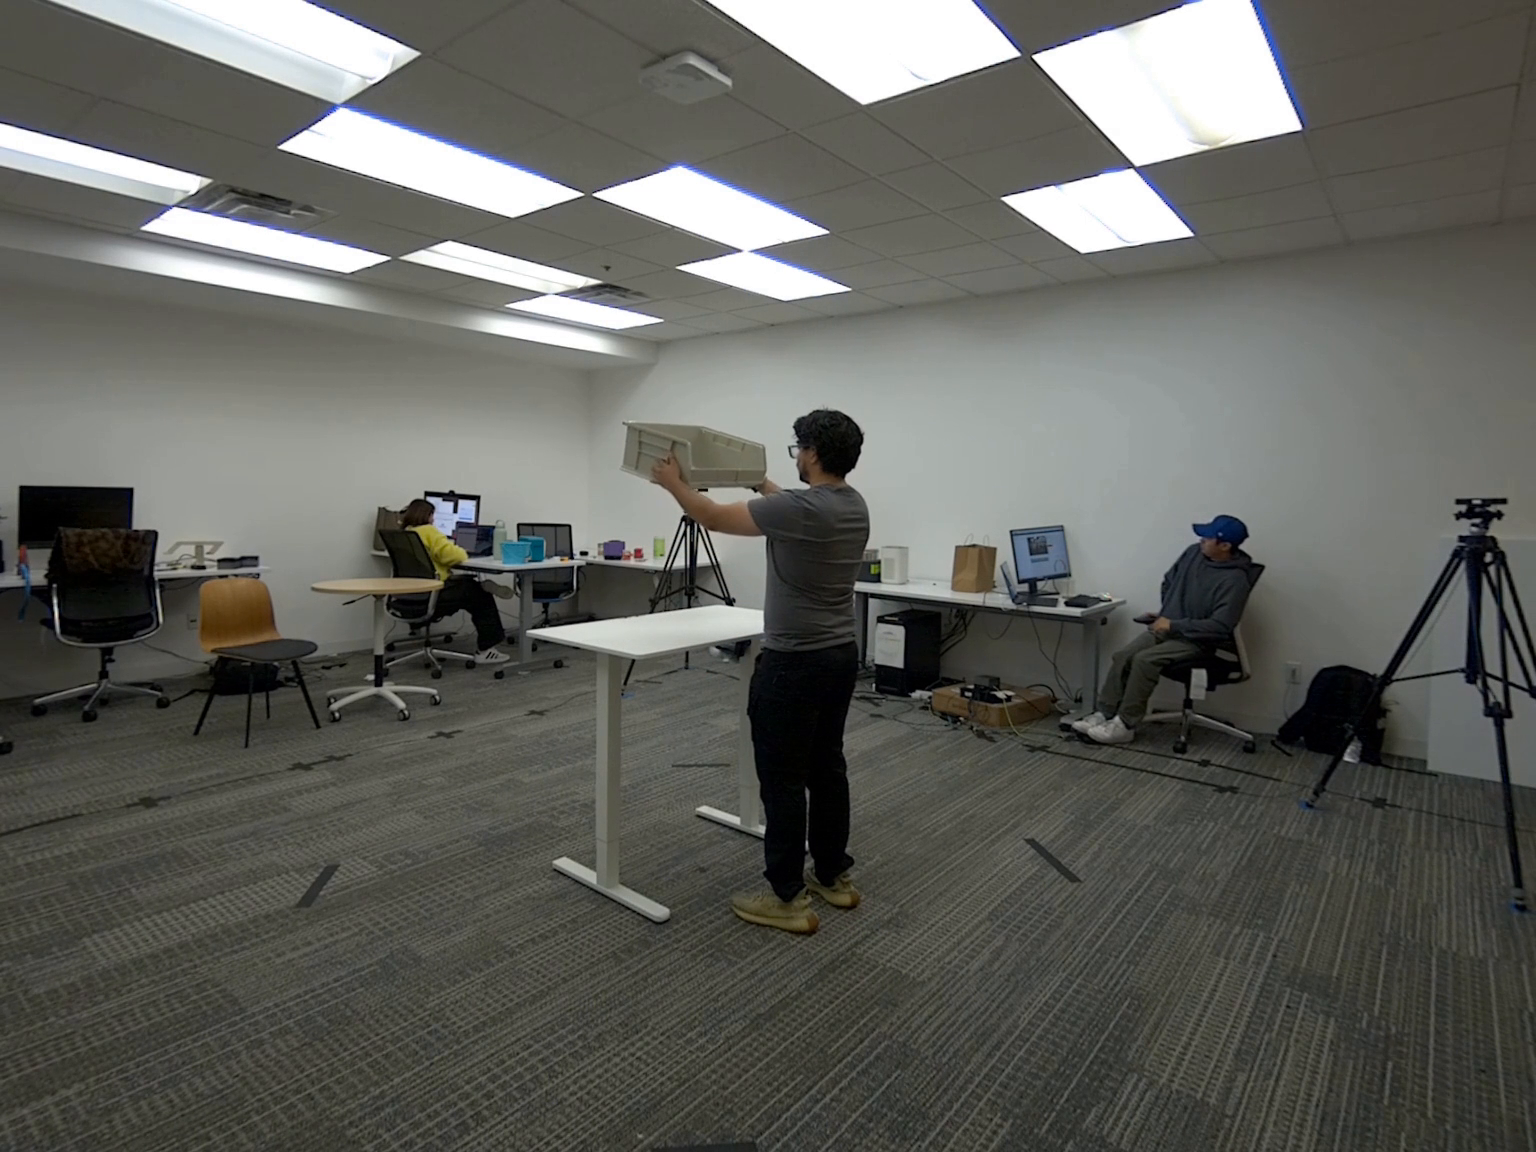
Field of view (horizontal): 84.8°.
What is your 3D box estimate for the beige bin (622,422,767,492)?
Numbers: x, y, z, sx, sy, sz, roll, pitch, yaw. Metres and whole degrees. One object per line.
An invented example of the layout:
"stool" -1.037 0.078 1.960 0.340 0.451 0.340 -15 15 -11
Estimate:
"beige bin" -0.283 -0.440 3.183 0.392 0.187 0.410 23 20 37
